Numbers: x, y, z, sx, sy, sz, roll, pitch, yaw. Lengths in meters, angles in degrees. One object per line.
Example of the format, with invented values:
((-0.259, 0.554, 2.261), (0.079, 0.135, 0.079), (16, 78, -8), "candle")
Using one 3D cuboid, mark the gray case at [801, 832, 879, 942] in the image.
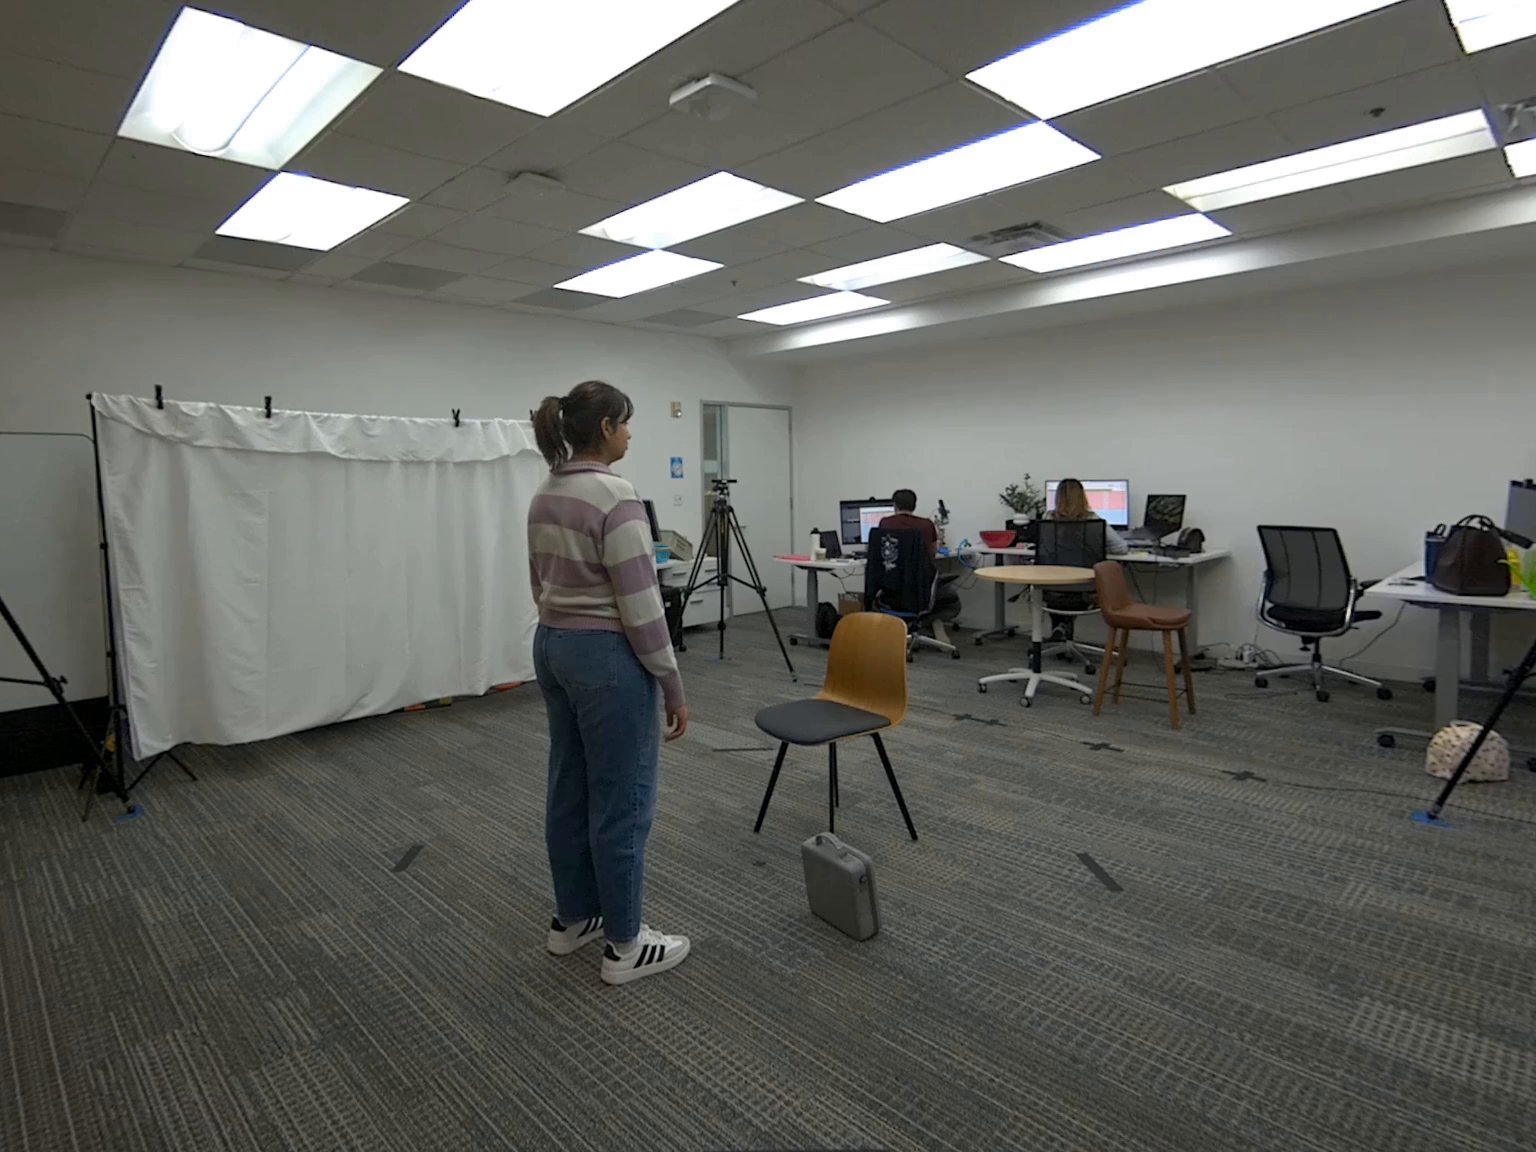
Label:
((0.216, 0.961, 2.666), (0.102, 0.259, 0.263), (-11, 8, -23), "gray case")
